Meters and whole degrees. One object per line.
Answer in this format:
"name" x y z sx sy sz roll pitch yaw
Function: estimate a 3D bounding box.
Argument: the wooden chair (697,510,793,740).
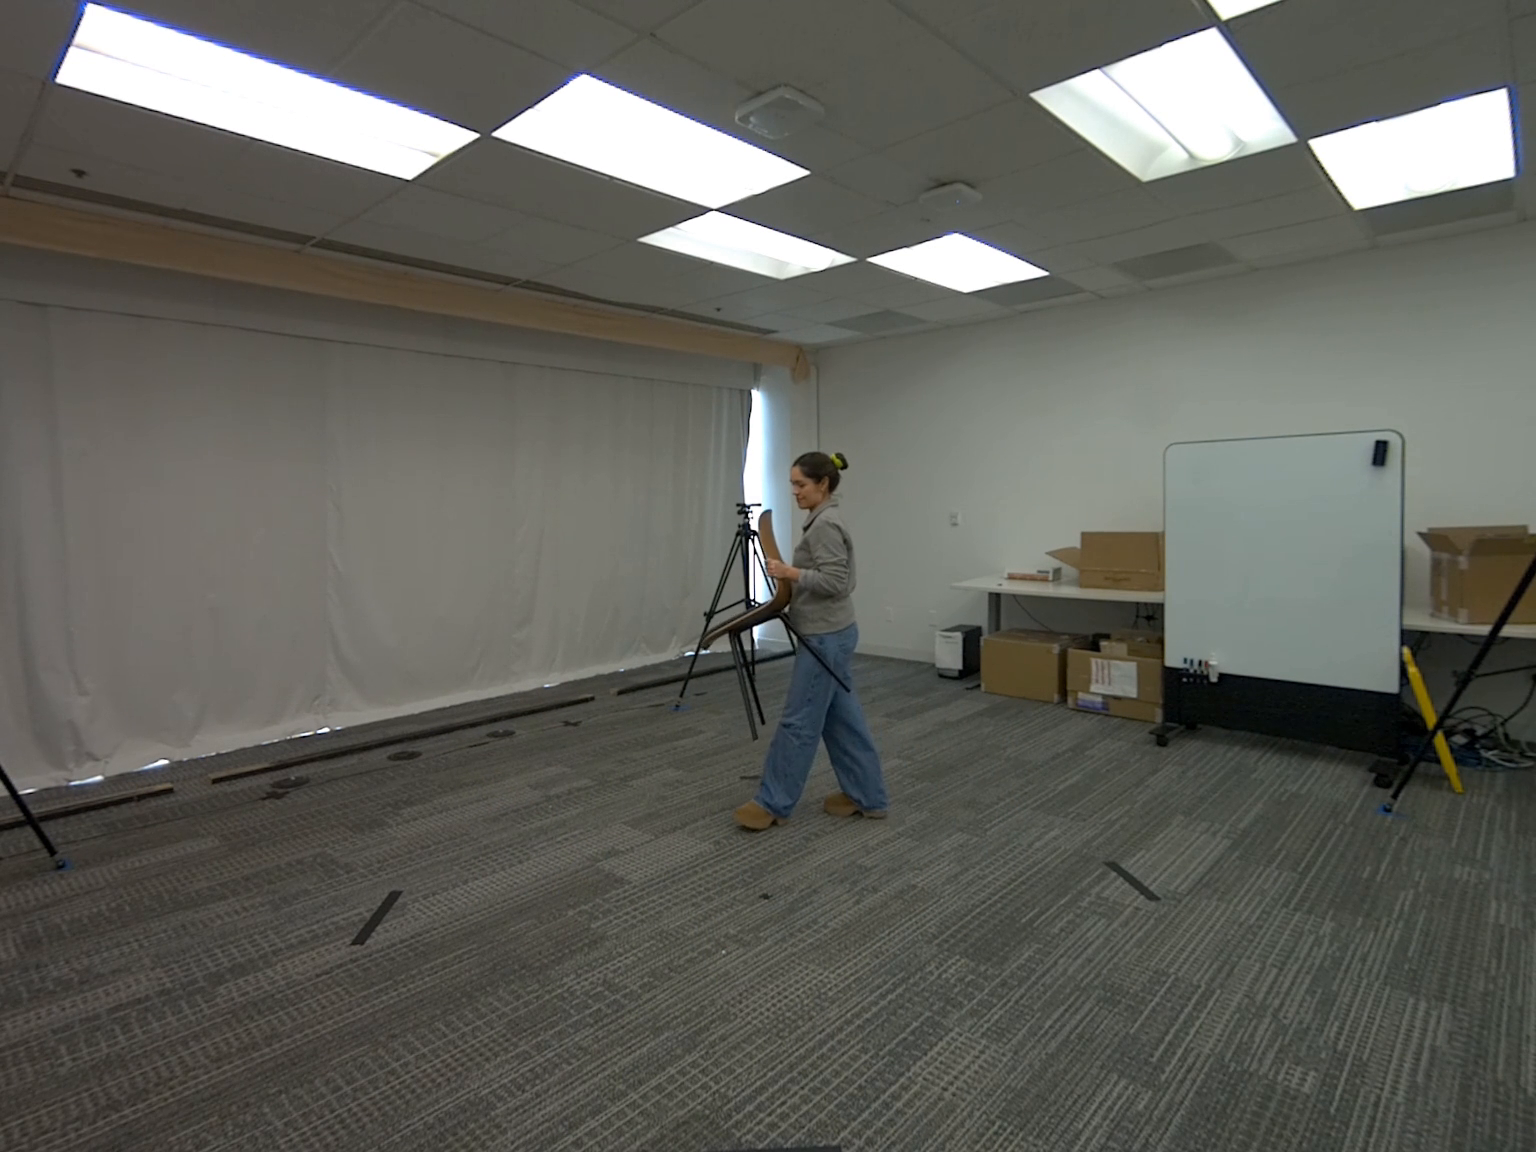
"wooden chair" -0.054 0.205 3.729 0.525 0.882 0.474 -23 -5 5
